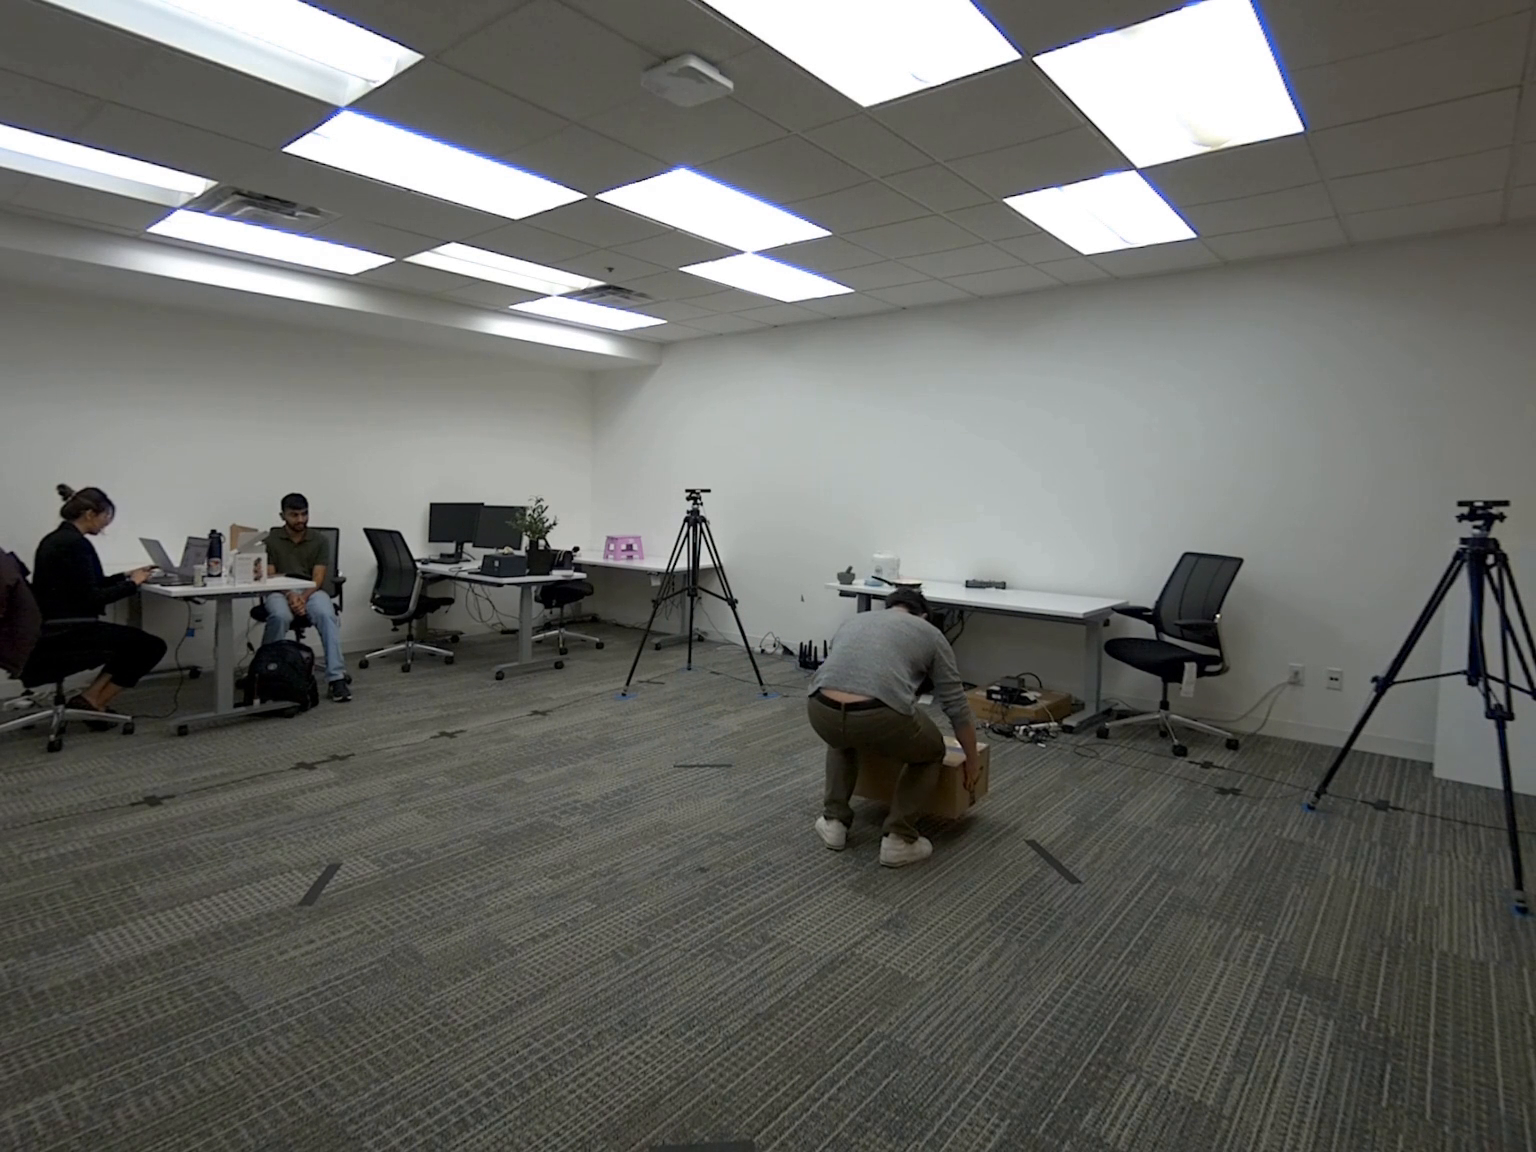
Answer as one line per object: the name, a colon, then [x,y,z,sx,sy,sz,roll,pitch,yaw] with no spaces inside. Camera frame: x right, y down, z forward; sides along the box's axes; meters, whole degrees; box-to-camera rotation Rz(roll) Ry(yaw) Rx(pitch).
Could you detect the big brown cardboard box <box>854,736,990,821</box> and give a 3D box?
big brown cardboard box: [0.605,0.812,3.672,0.607,0.232,0.406,4,4,32]
